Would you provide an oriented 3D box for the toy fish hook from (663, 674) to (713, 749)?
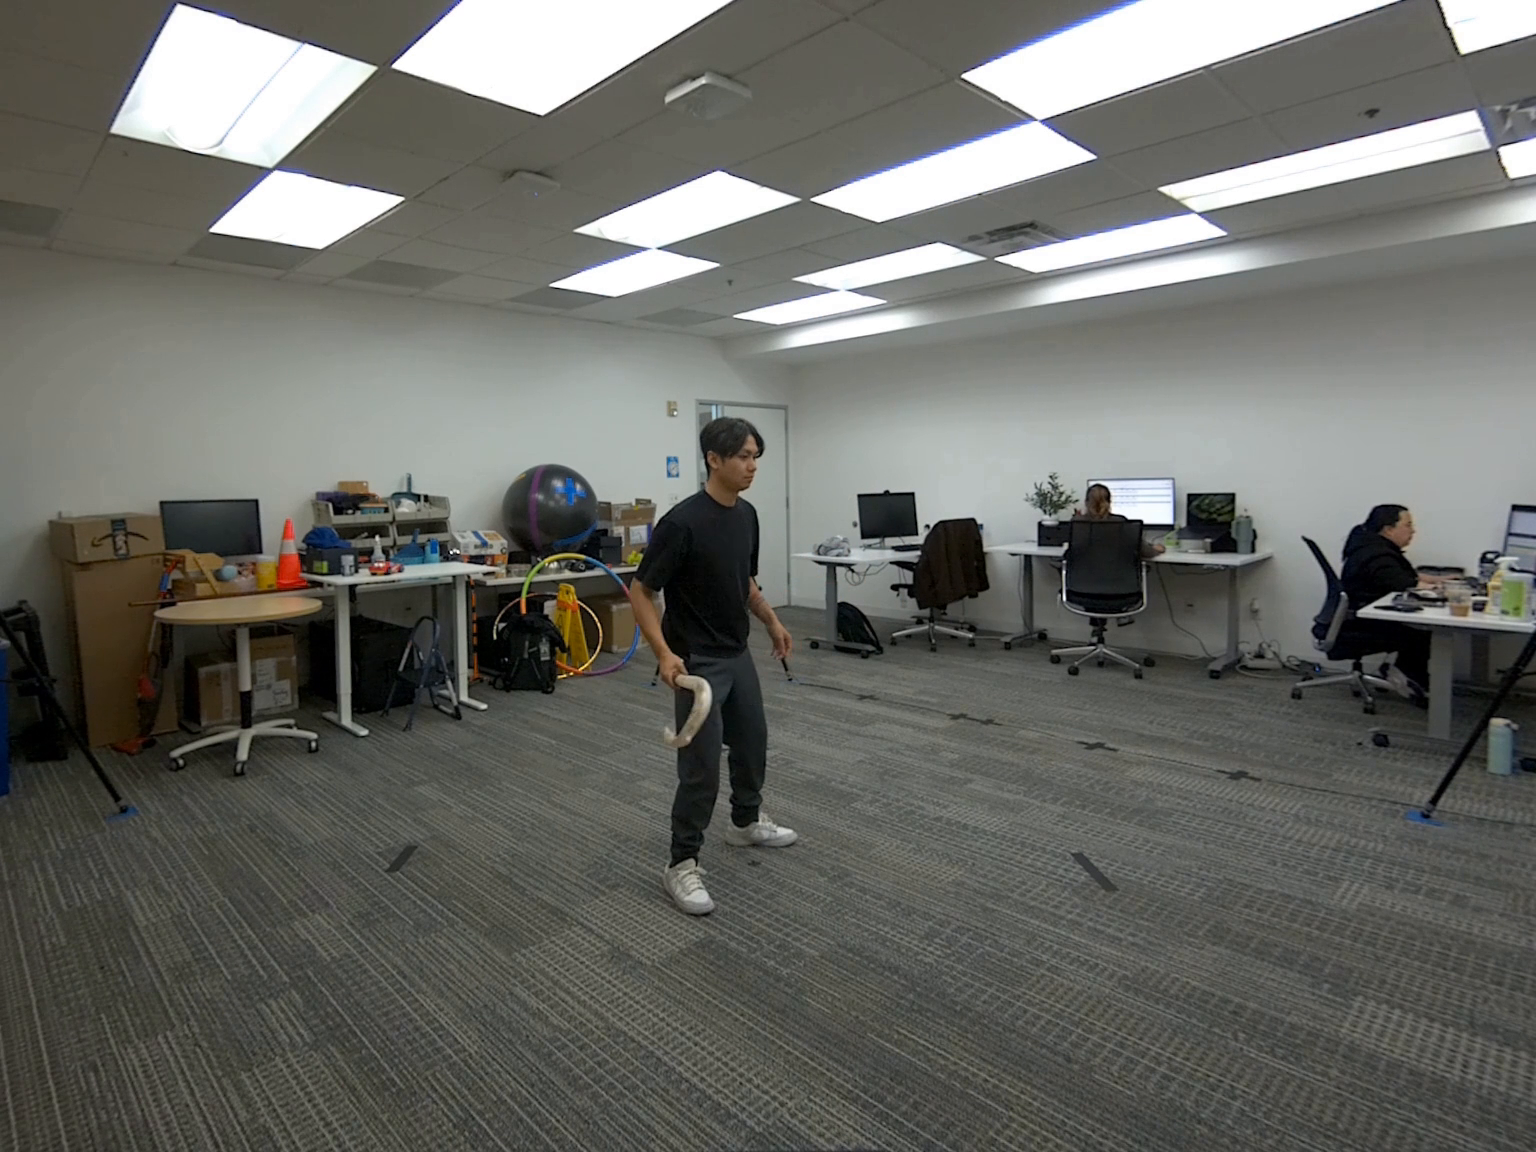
[{"bbox_3d":[-0.263,0.369,2.653,0.047,0.225,0.518,32,-1,-20],"label":"toy fish hook"}]
